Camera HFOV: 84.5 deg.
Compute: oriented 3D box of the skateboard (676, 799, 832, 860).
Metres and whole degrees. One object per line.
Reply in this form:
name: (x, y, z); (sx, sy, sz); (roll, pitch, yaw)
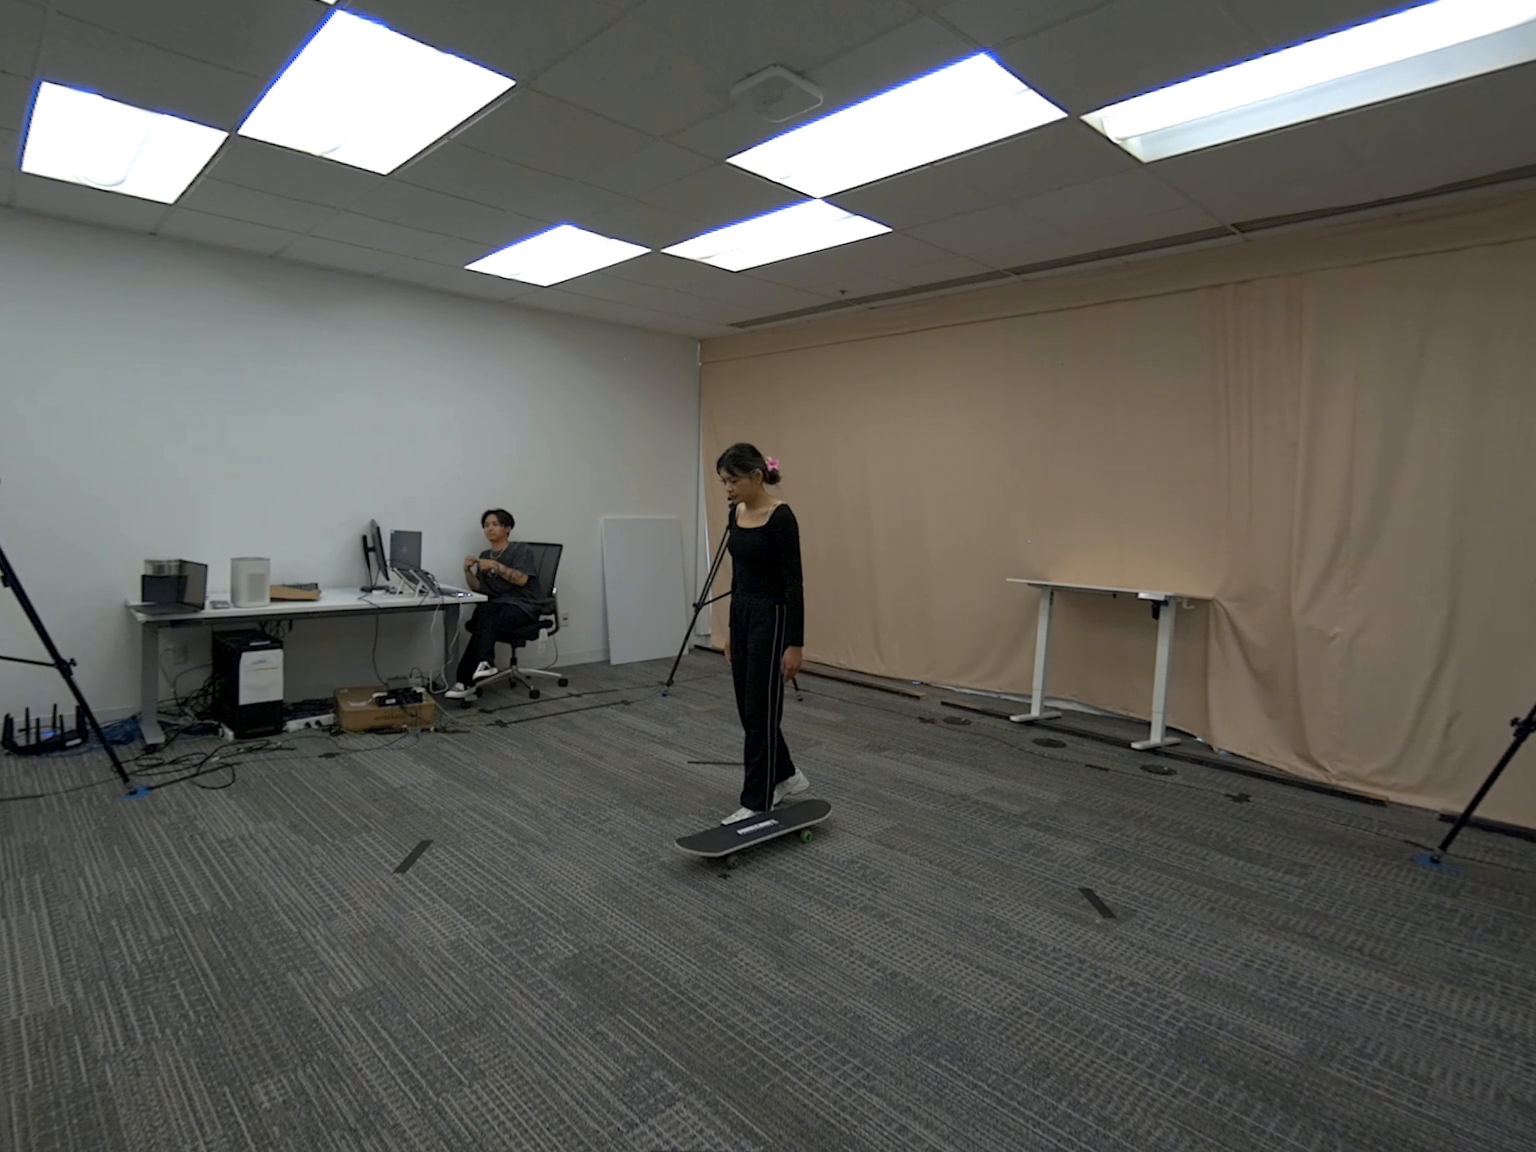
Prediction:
skateboard: (-0.047, 1.032, 3.358); (0.768, 0.110, 0.198); (-4, 7, -43)
